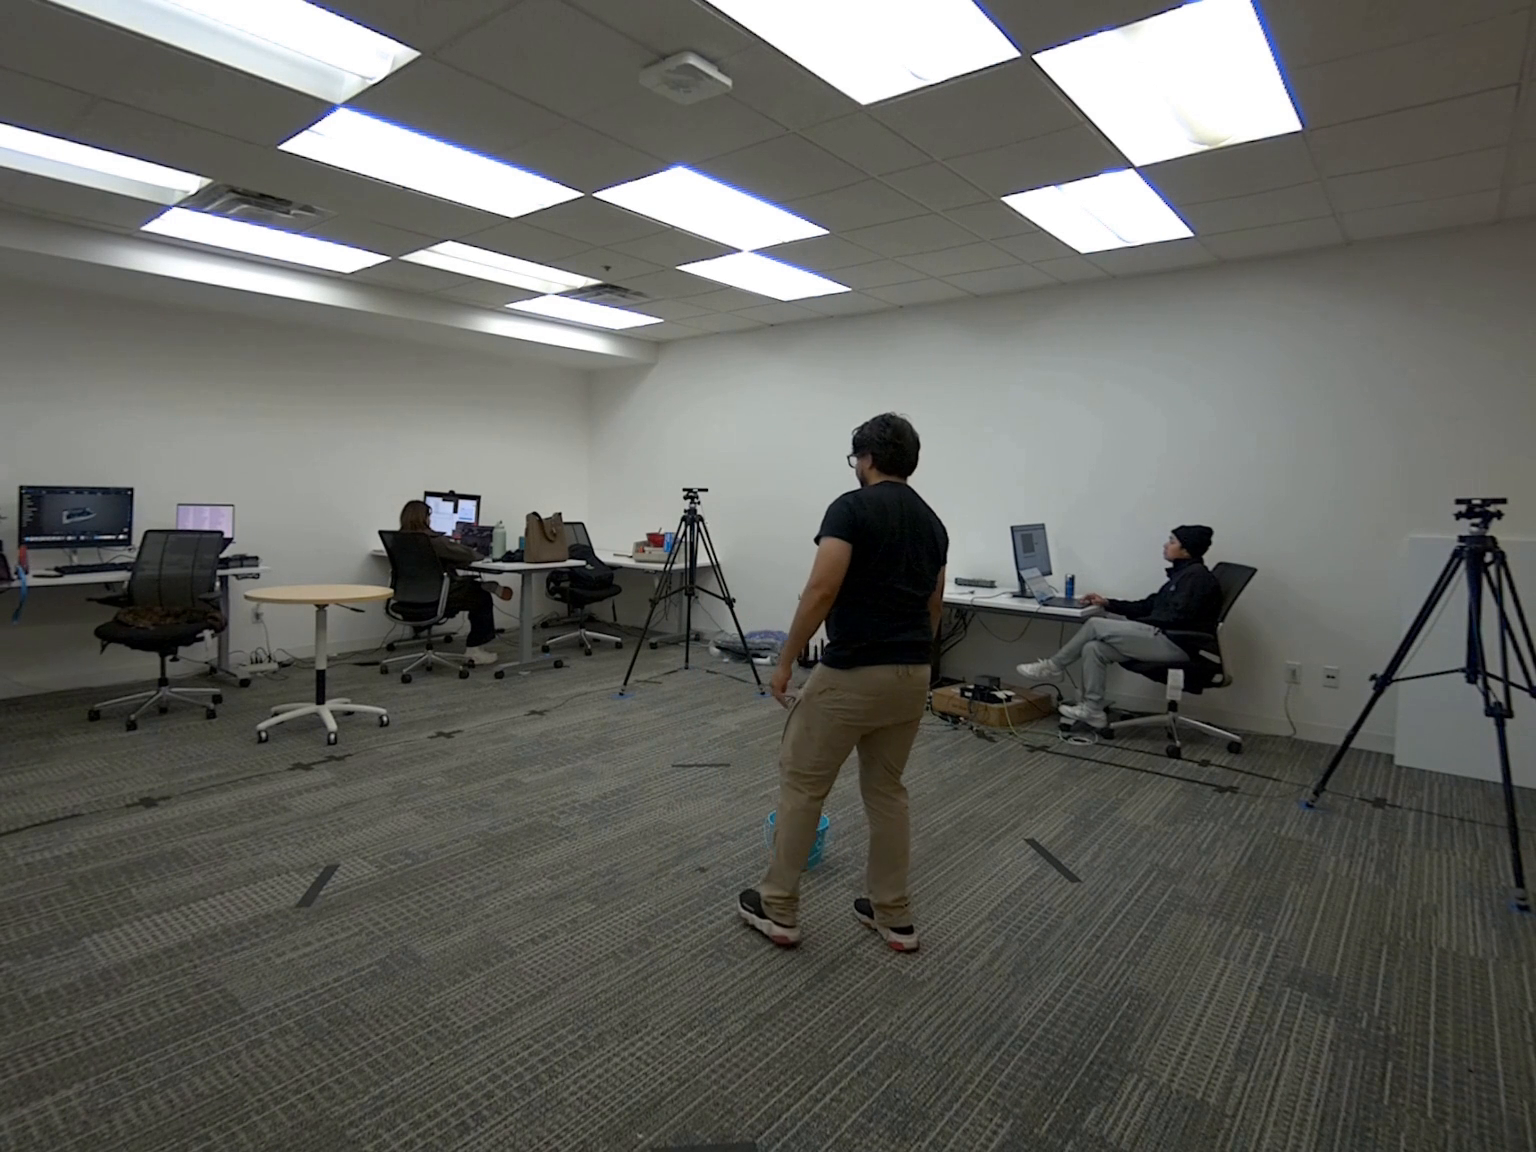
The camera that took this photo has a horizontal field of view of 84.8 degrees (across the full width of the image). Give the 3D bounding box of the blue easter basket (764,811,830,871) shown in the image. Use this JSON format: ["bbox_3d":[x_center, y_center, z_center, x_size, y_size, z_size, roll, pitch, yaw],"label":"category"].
[{"bbox_3d":[0.106,0.989,3.208,0.243,0.155,0.245,1,5,-2],"label":"blue easter basket"}]
